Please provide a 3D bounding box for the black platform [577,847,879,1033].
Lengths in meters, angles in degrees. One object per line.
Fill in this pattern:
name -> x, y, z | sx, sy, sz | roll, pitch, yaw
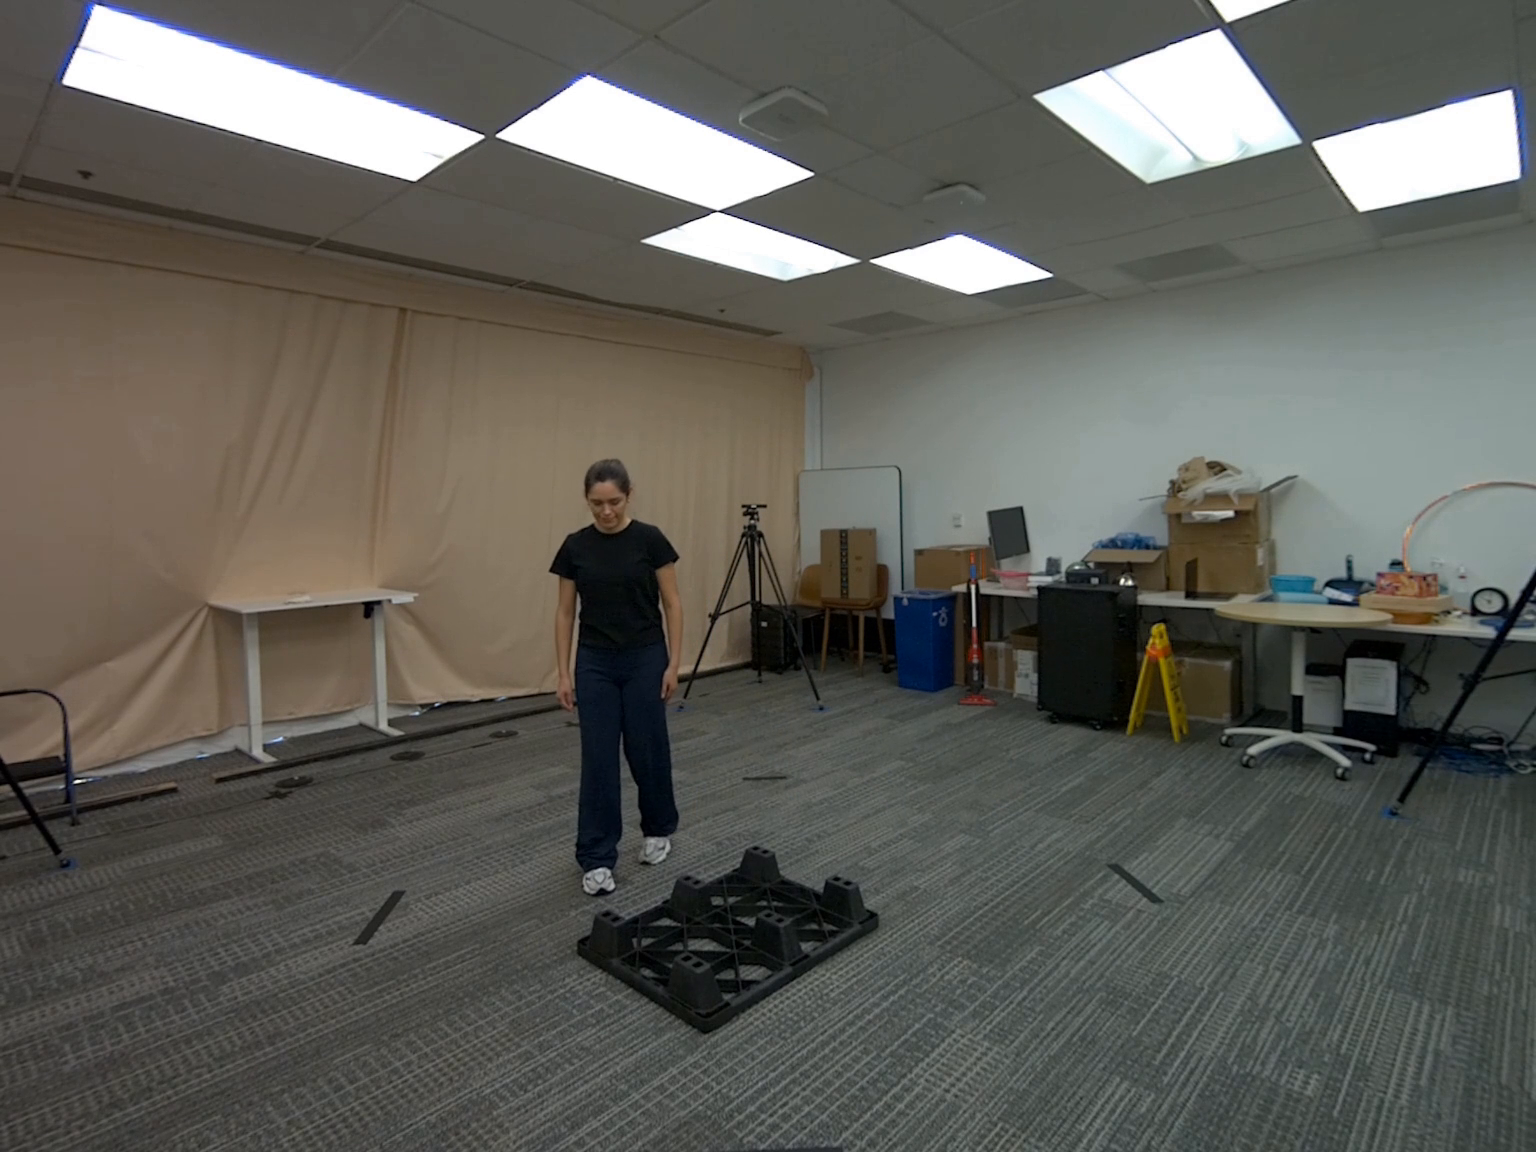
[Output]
black platform -> -0.099, 1.102, 2.696 | 0.625, 0.143, 0.781 | 3, 7, 43
